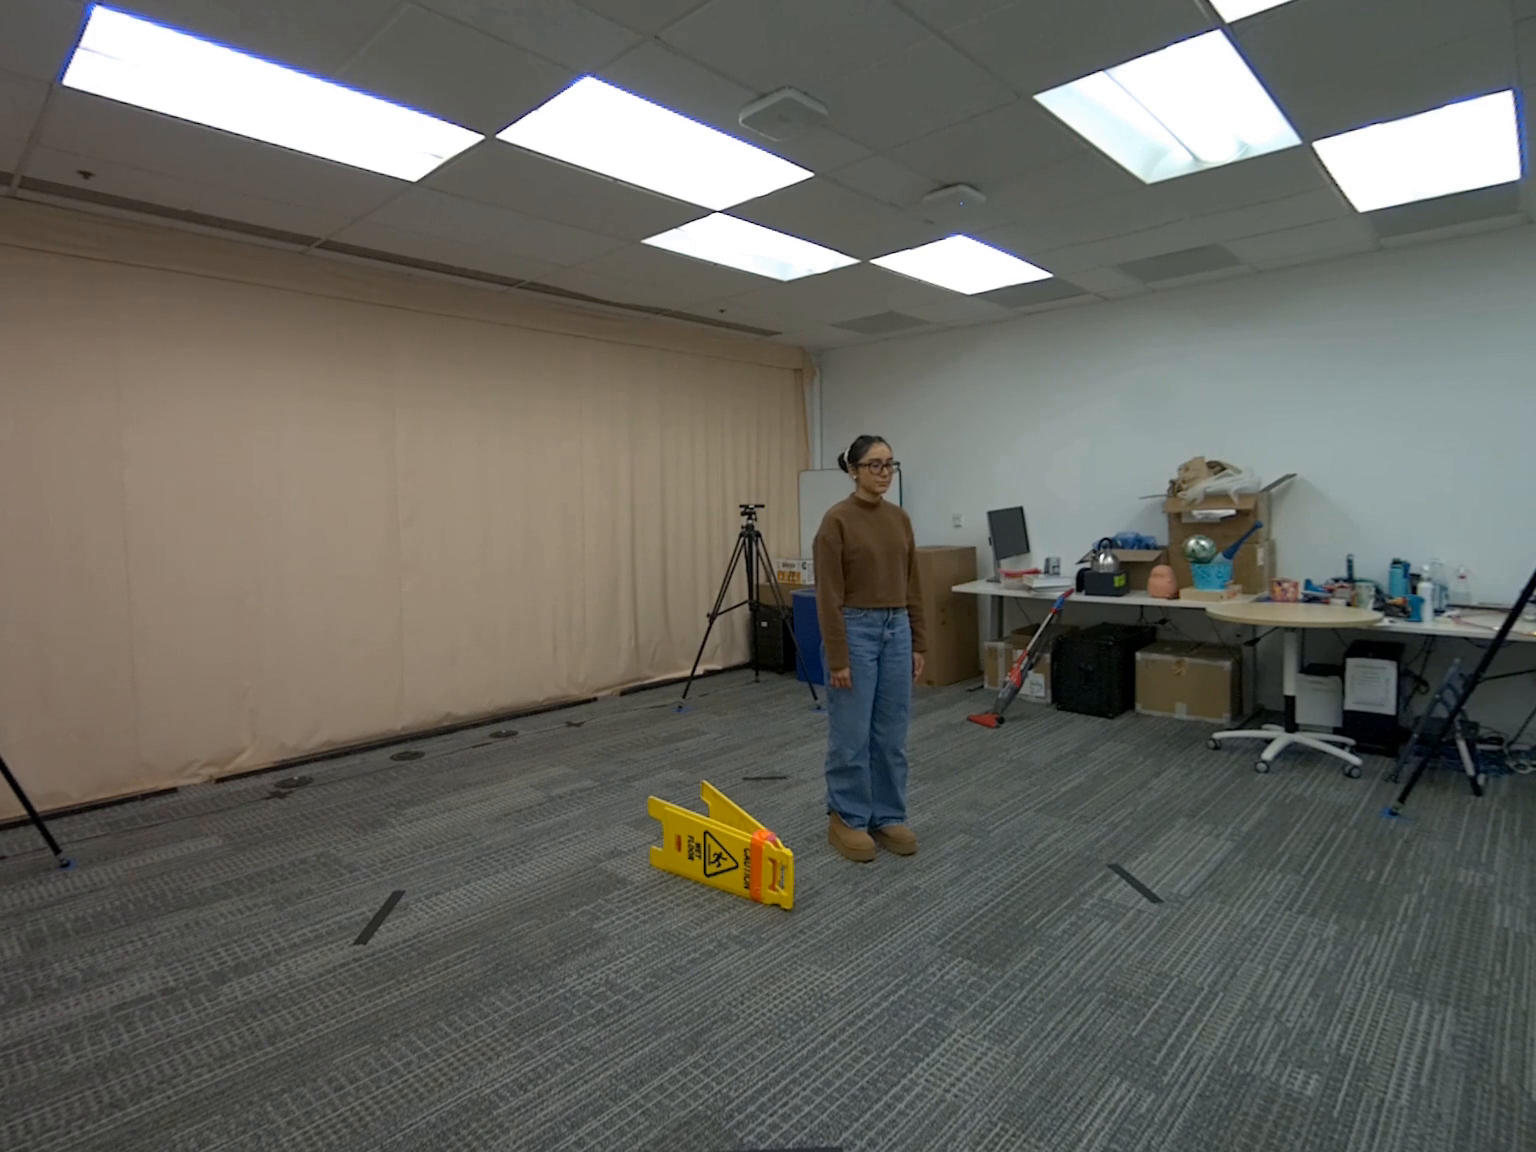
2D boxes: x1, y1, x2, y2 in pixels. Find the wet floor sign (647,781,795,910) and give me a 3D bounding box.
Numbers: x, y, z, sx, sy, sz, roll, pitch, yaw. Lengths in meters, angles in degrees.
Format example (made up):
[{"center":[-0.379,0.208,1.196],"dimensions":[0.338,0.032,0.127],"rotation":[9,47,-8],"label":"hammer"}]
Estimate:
[{"center":[-0.136,1.006,3.105],"dimensions":[0.281,0.281,0.668],"rotation":[-5,9,-42],"label":"wet floor sign"}]
